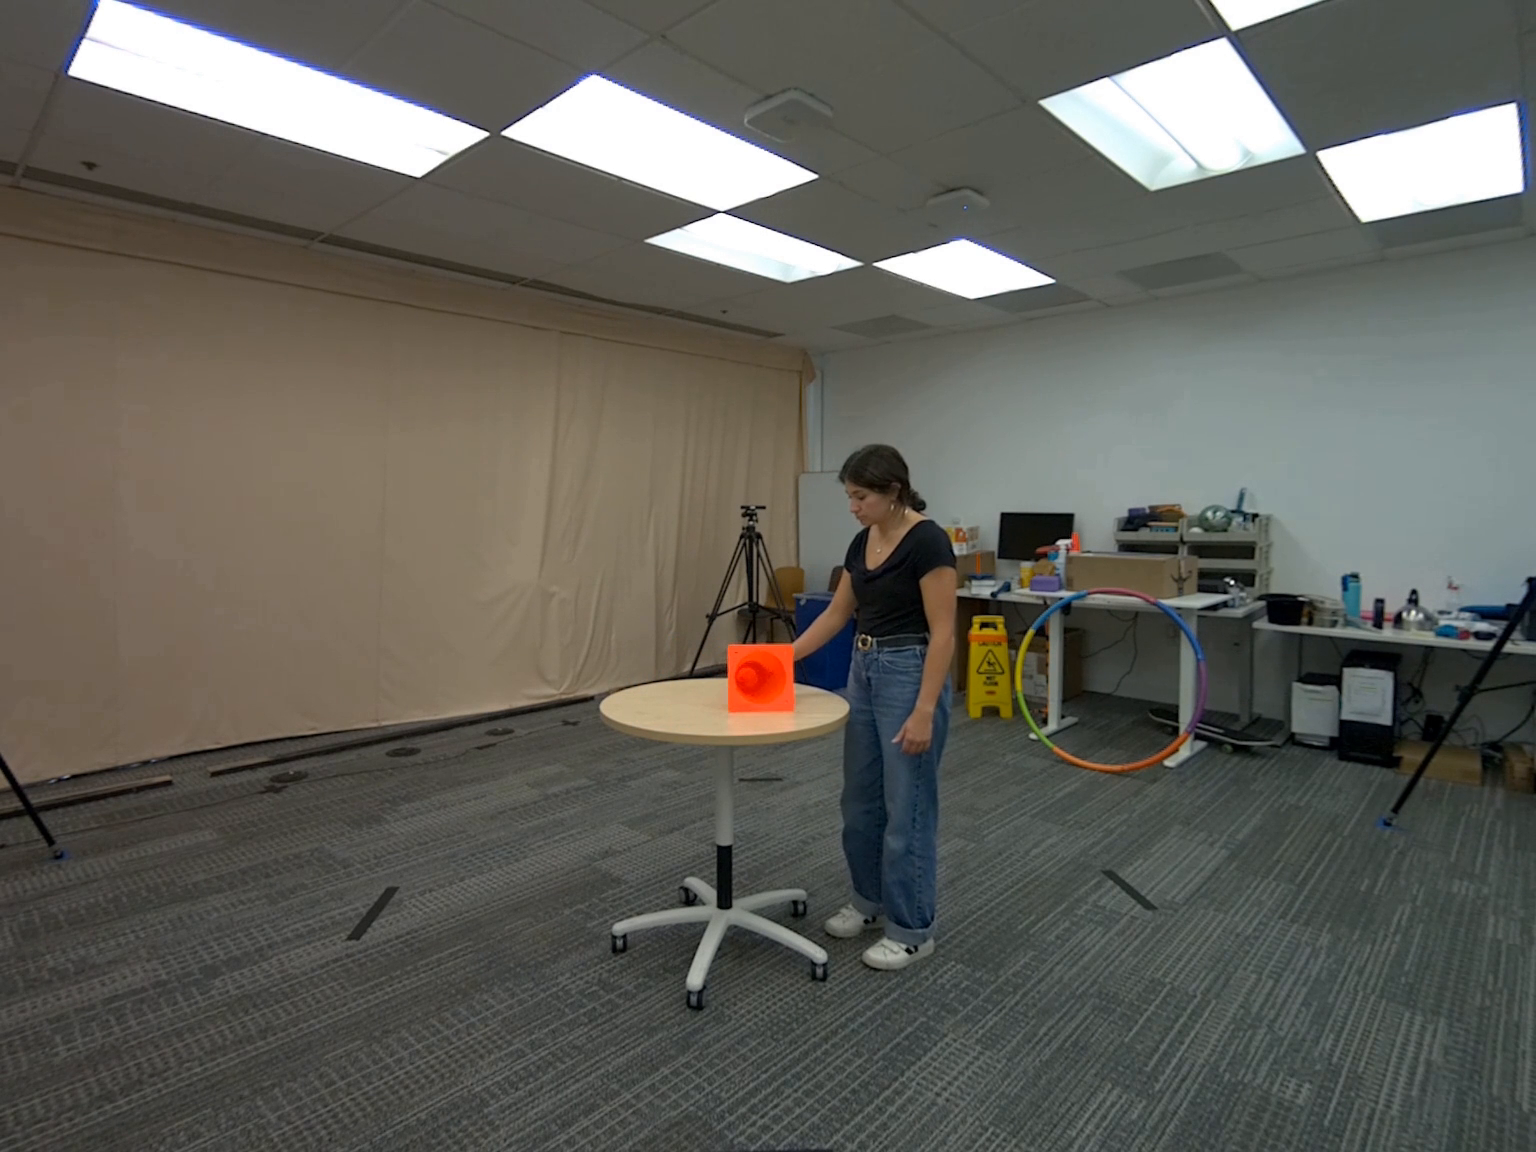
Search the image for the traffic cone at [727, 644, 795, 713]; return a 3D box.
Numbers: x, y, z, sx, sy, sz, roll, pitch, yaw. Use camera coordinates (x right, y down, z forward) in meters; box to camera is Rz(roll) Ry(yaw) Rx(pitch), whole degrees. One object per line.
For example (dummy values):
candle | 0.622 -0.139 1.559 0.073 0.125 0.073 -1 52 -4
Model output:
traffic cone | -0.046 0.338 2.686 0.203 0.205 0.384 -1 -10 -9
